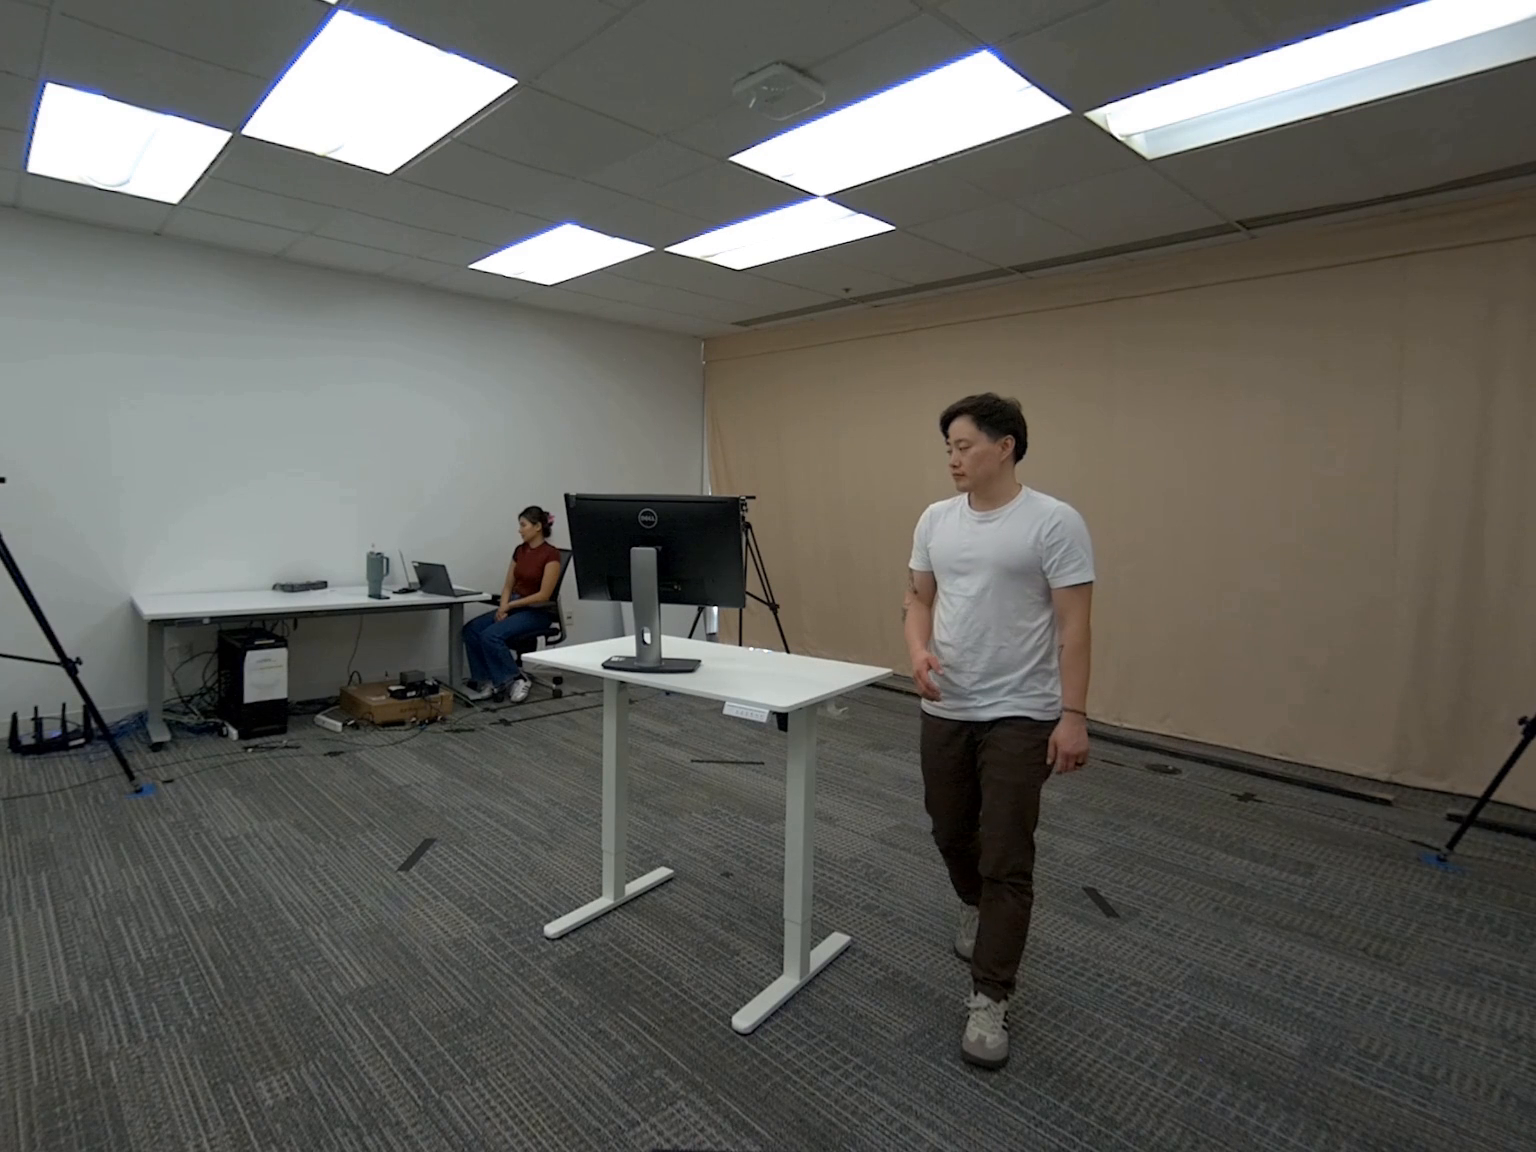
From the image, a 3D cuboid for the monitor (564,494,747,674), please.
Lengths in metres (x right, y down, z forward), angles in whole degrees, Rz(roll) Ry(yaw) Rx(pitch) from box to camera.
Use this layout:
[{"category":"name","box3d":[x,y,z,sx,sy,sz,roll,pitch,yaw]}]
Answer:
[{"category":"monitor","box3d":[-0.351,0.023,2.474,0.544,0.520,0.186,2,7,12]}]
